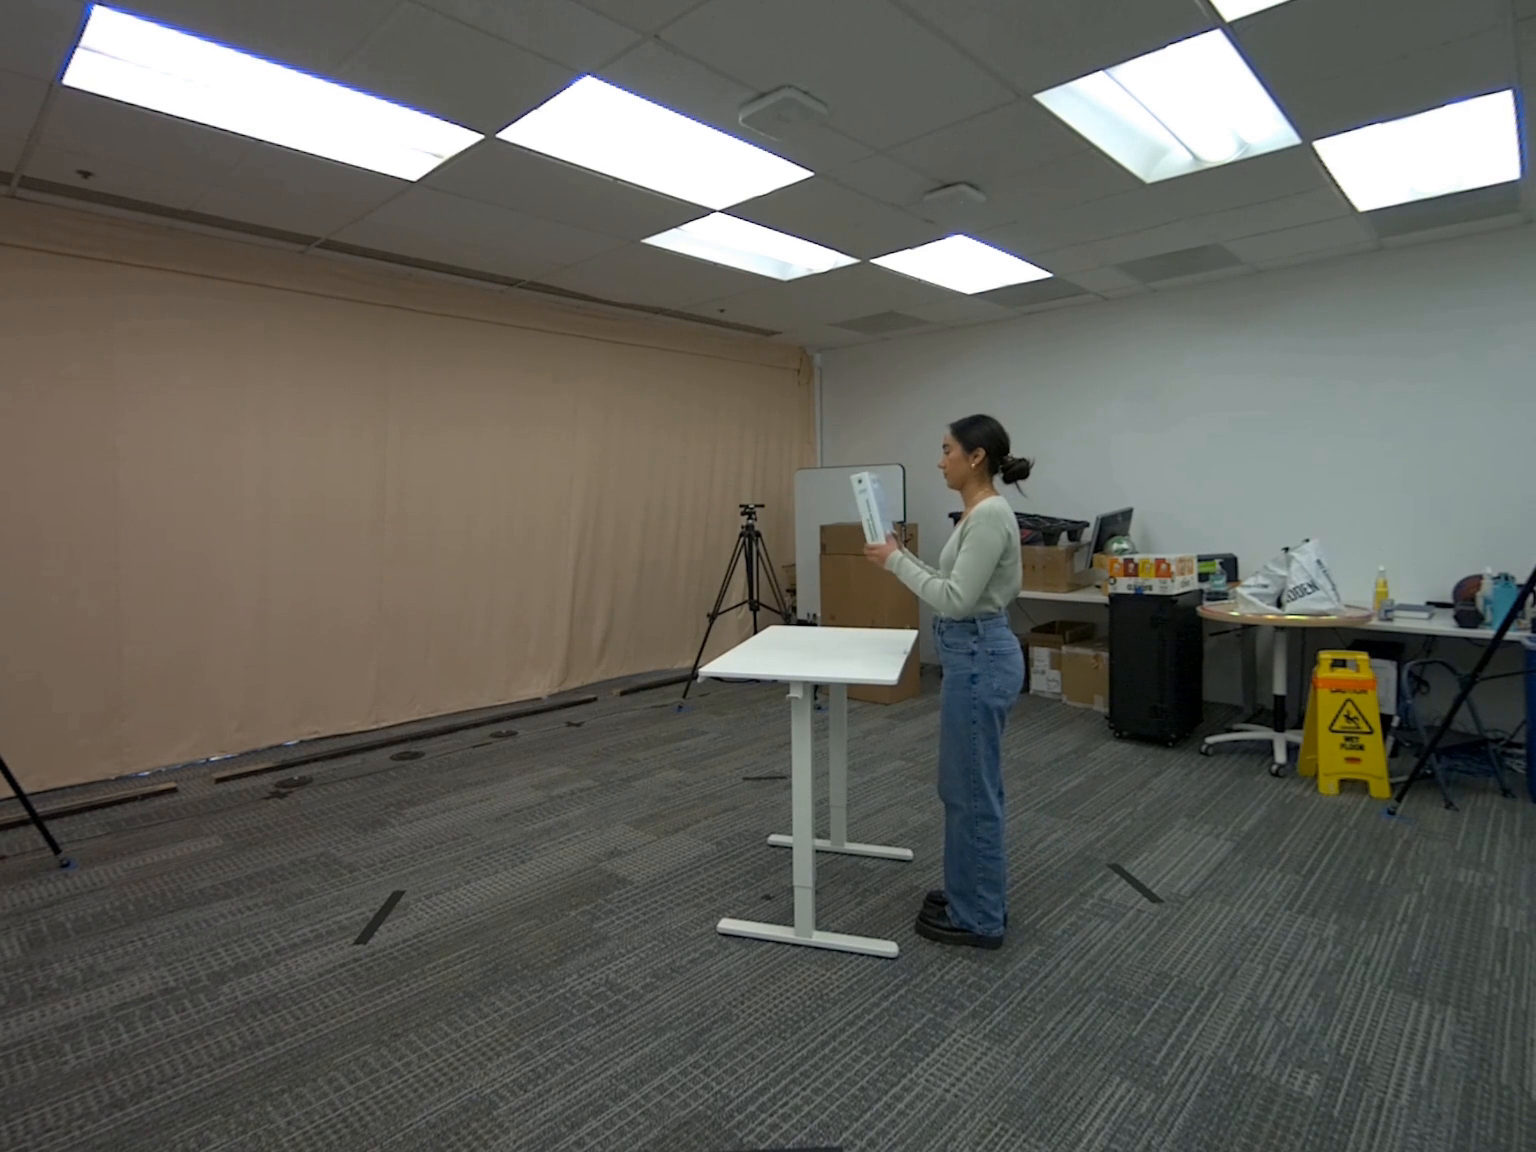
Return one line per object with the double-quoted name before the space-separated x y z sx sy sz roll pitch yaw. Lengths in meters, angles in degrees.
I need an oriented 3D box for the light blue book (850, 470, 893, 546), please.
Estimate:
"light blue book" 0.358 -0.202 2.752 0.060 0.261 0.188 -14 0 21
